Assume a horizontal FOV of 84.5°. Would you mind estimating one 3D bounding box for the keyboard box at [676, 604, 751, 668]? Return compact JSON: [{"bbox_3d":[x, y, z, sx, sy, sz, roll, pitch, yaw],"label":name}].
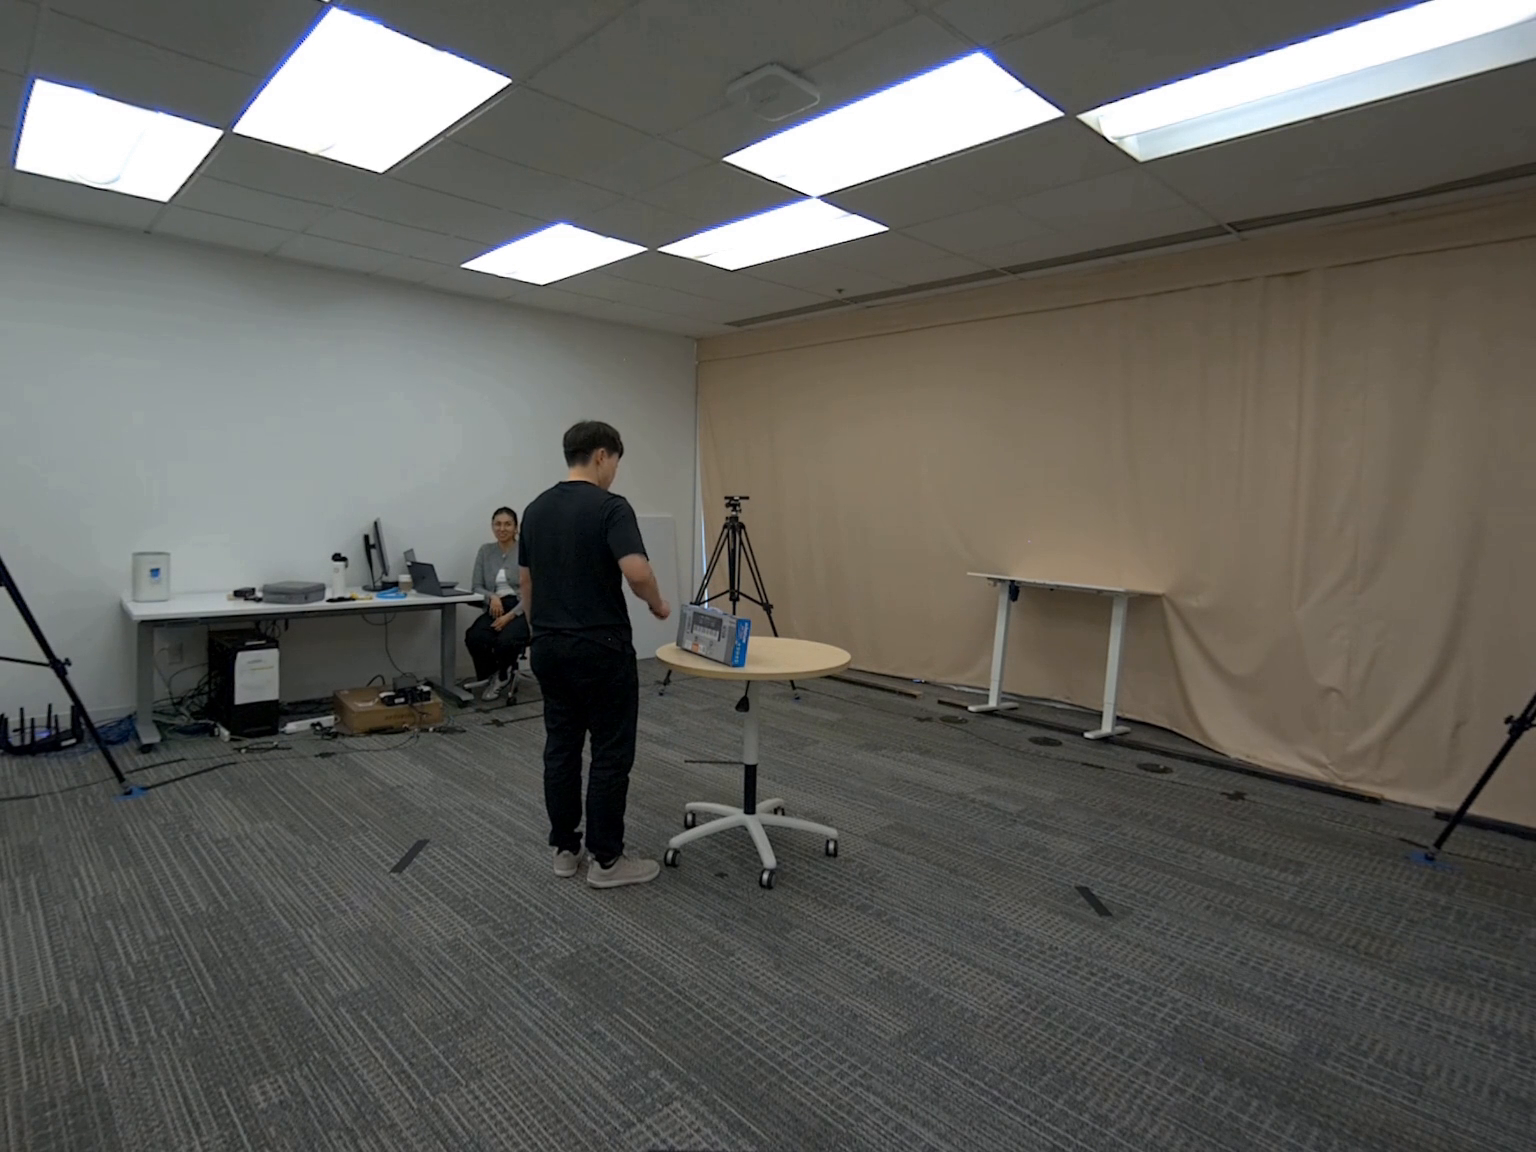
[{"bbox_3d":[-0.224,0.222,3.215,0.058,0.176,0.447,7,1,-33],"label":"keyboard box"}]
